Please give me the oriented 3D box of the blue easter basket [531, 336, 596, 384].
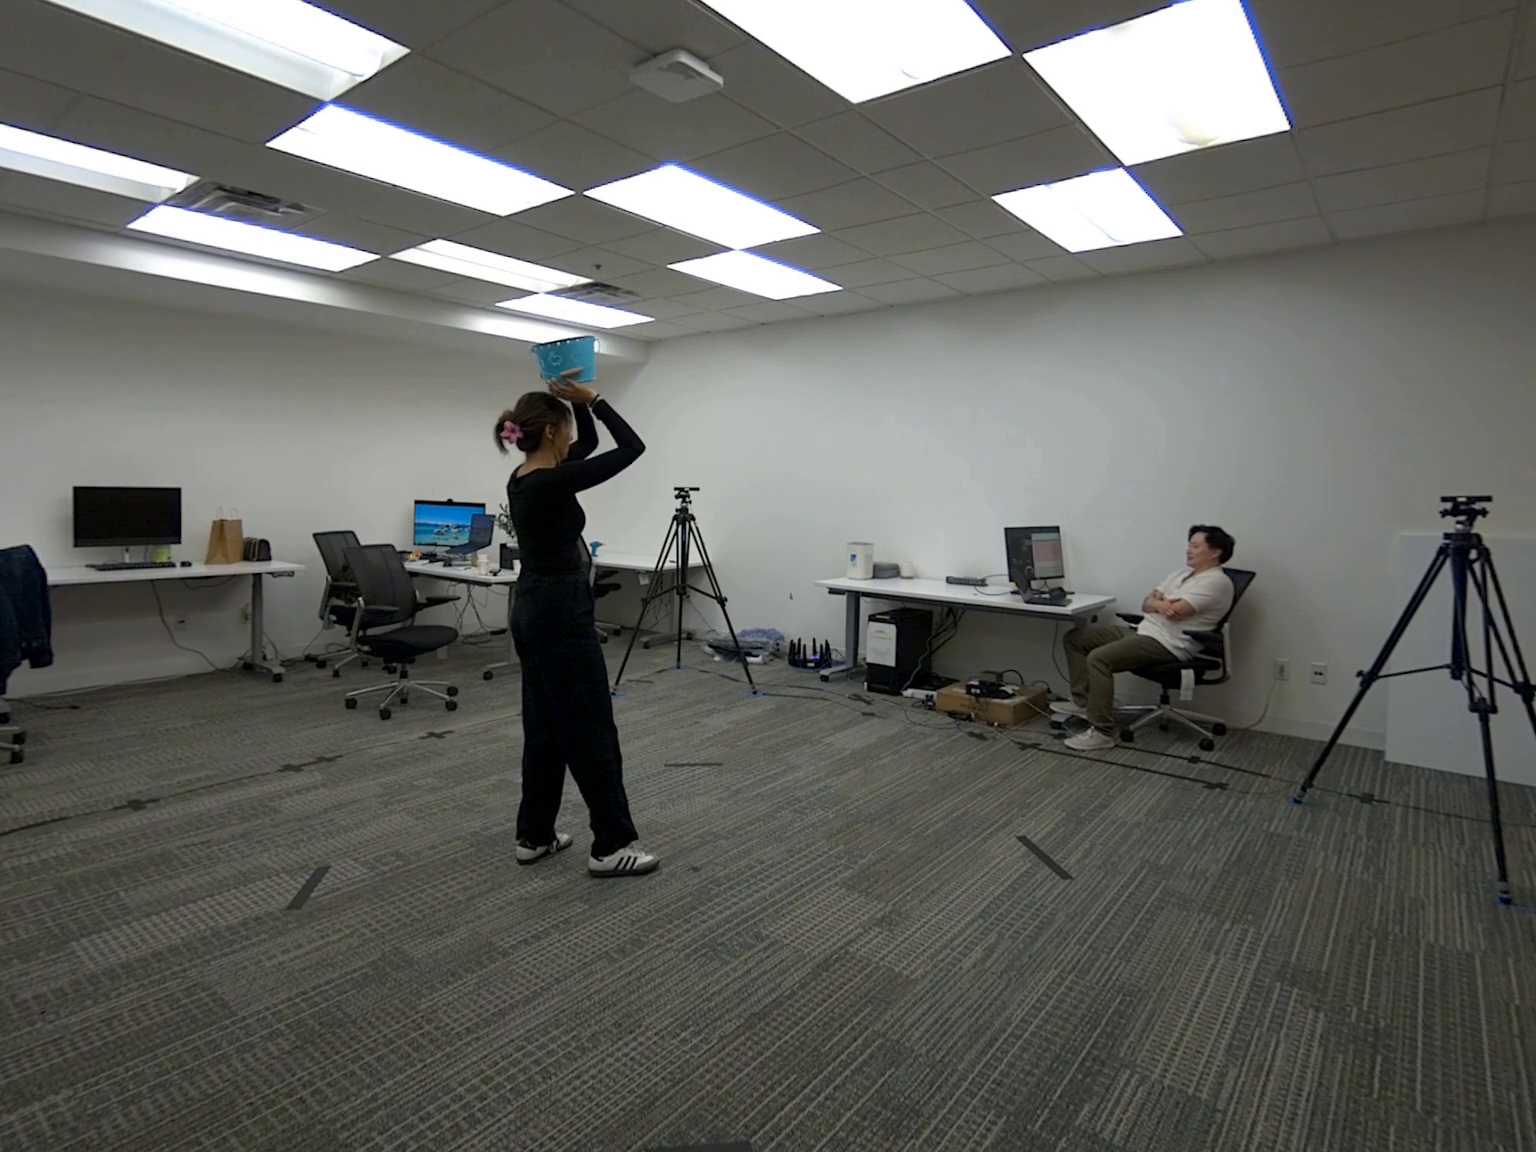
[{"bbox_3d":[-0.724,-0.760,3.015,0.244,0.154,0.246,-10,12,0],"label":"blue easter basket"}]
